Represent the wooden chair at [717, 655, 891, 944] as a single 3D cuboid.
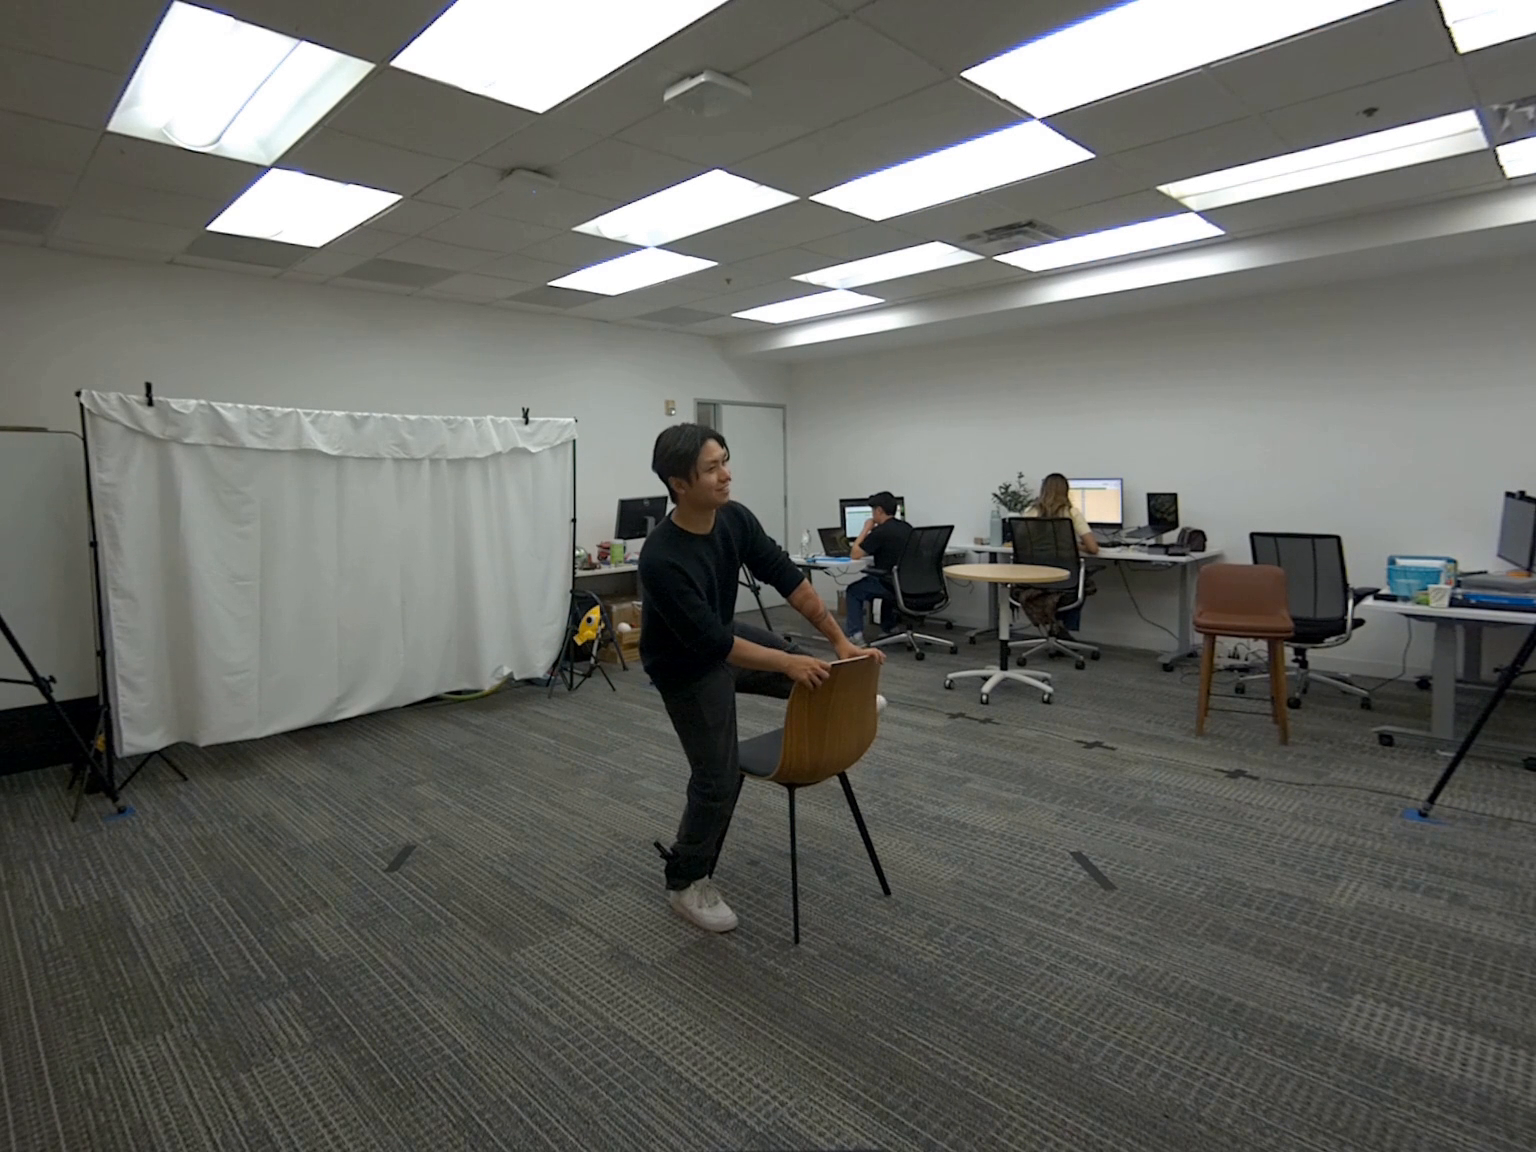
[{"bbox_3d":[0.083,0.640,2.847,0.465,0.871,0.541,-5,11,-42],"label":"wooden chair"}]
